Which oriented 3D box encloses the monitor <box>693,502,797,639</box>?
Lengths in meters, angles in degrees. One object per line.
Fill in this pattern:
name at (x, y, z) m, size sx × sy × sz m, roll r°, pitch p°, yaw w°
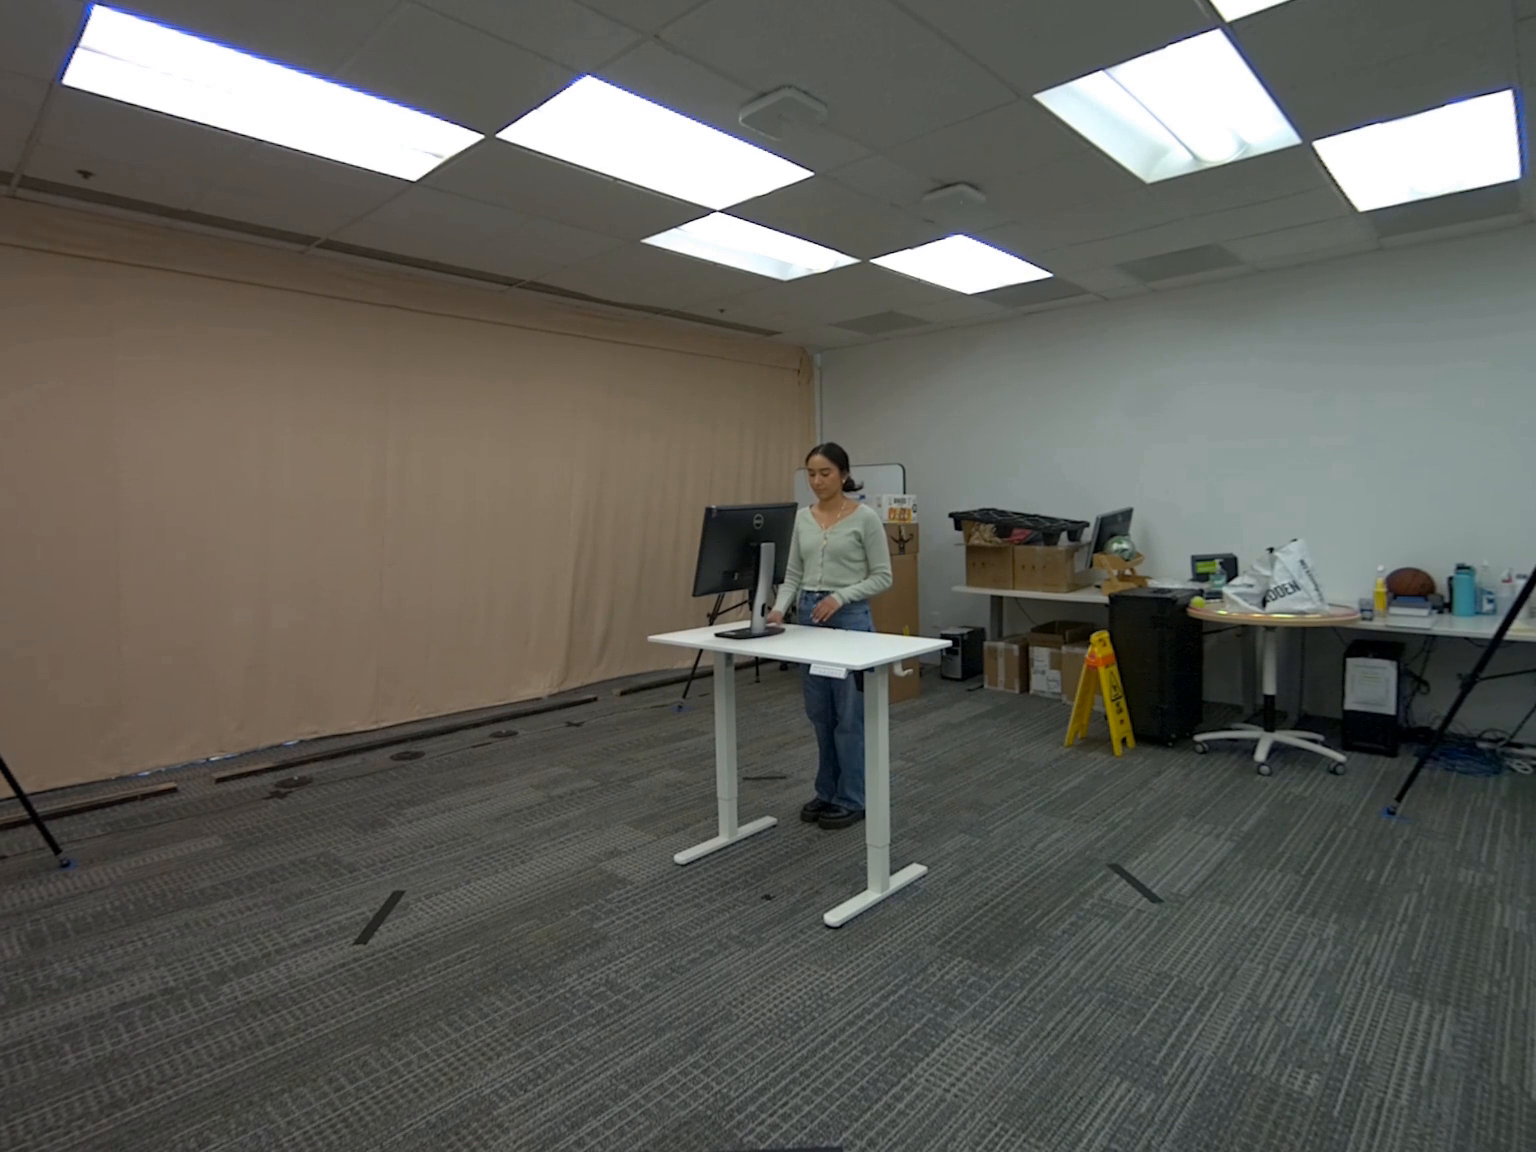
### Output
monitor at (-0.059, -0.026, 3.310) m, size 0.180 × 0.515 × 0.514 m, roll -2°, pitch 4°, yaw 41°
